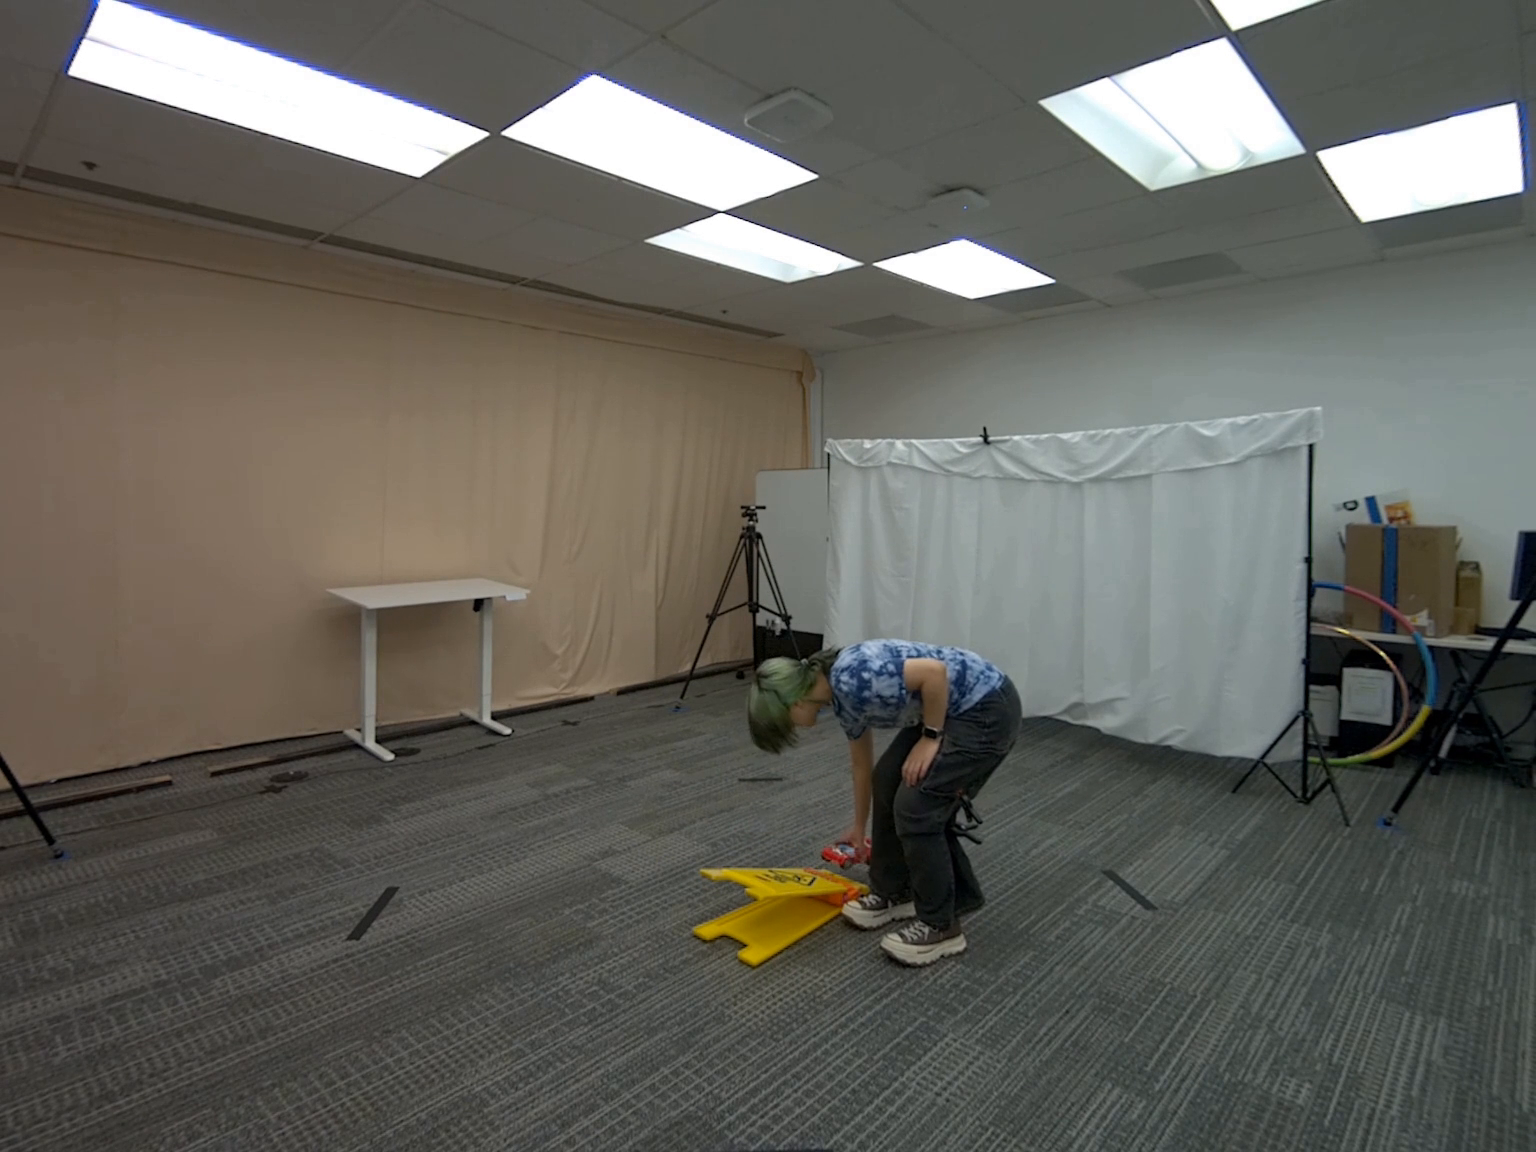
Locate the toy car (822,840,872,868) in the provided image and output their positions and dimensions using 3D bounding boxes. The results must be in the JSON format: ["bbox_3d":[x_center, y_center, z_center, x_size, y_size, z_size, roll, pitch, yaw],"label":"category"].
[{"bbox_3d":[0.317,1.013,3.077,0.247,0.083,0.135,-3,7,-43],"label":"toy car"}]
